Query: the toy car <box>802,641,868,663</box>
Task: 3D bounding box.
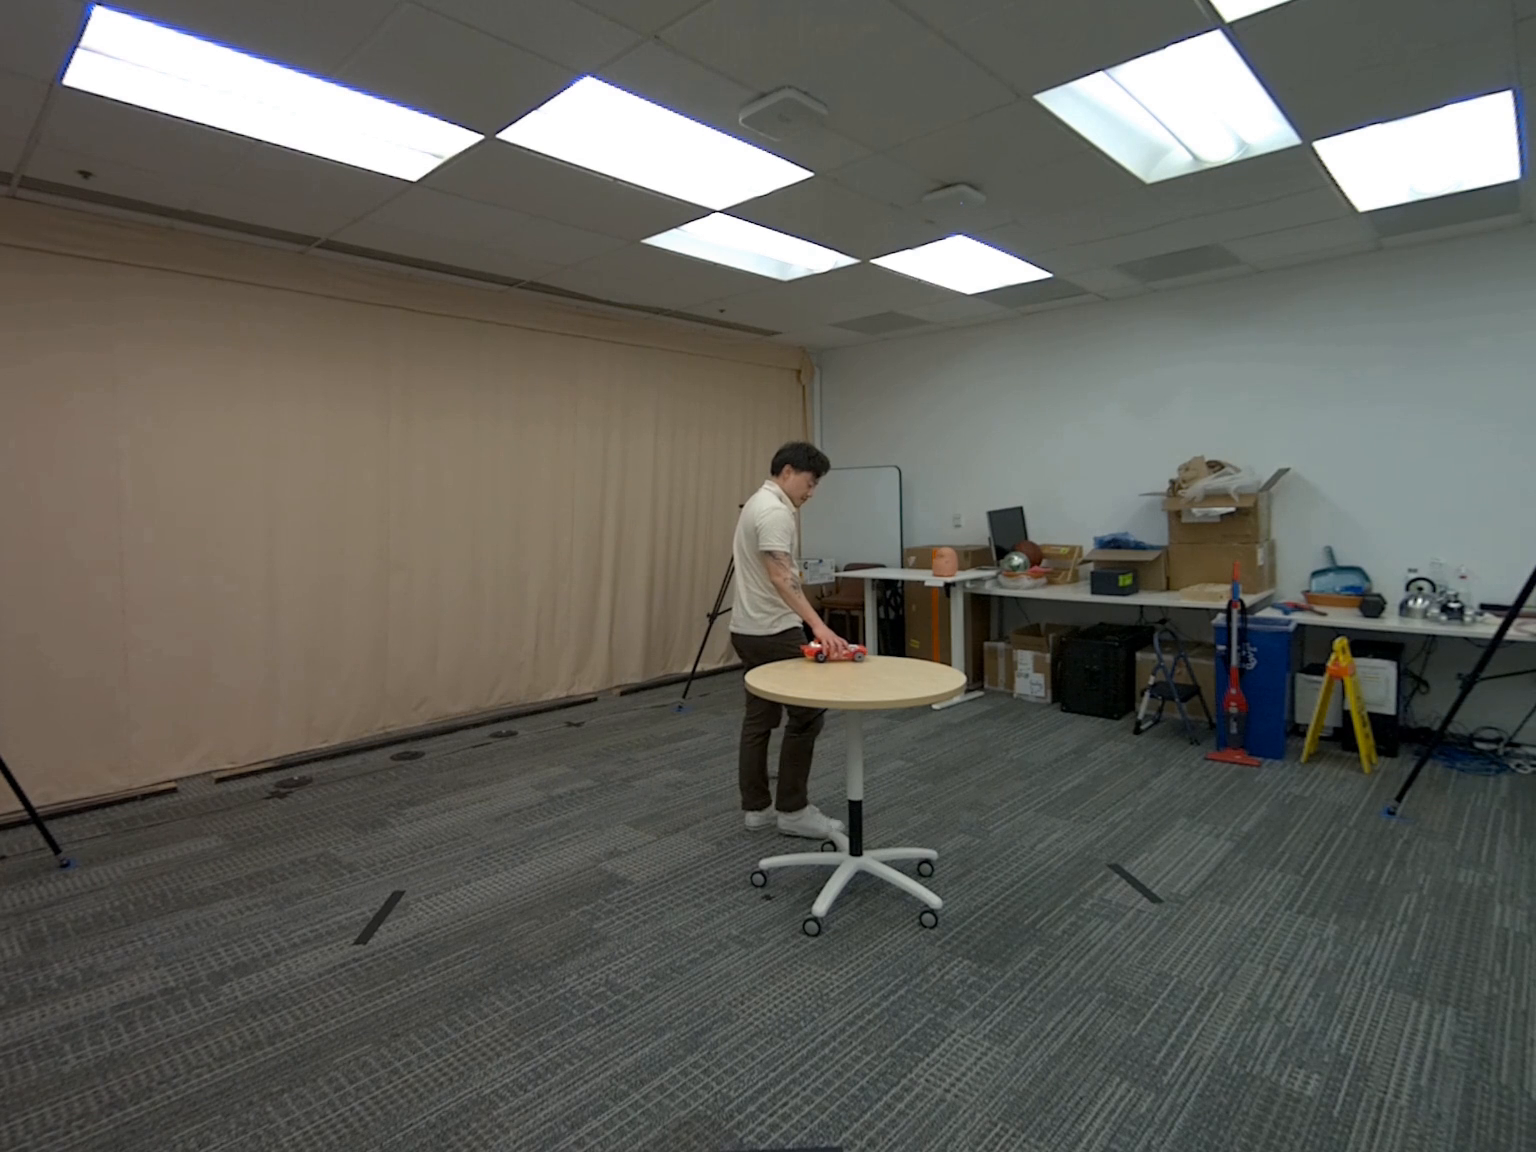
[{"bbox_3d":[0.256,0.295,3.250,0.255,0.083,0.130,9,5,0],"label":"toy car"}]
